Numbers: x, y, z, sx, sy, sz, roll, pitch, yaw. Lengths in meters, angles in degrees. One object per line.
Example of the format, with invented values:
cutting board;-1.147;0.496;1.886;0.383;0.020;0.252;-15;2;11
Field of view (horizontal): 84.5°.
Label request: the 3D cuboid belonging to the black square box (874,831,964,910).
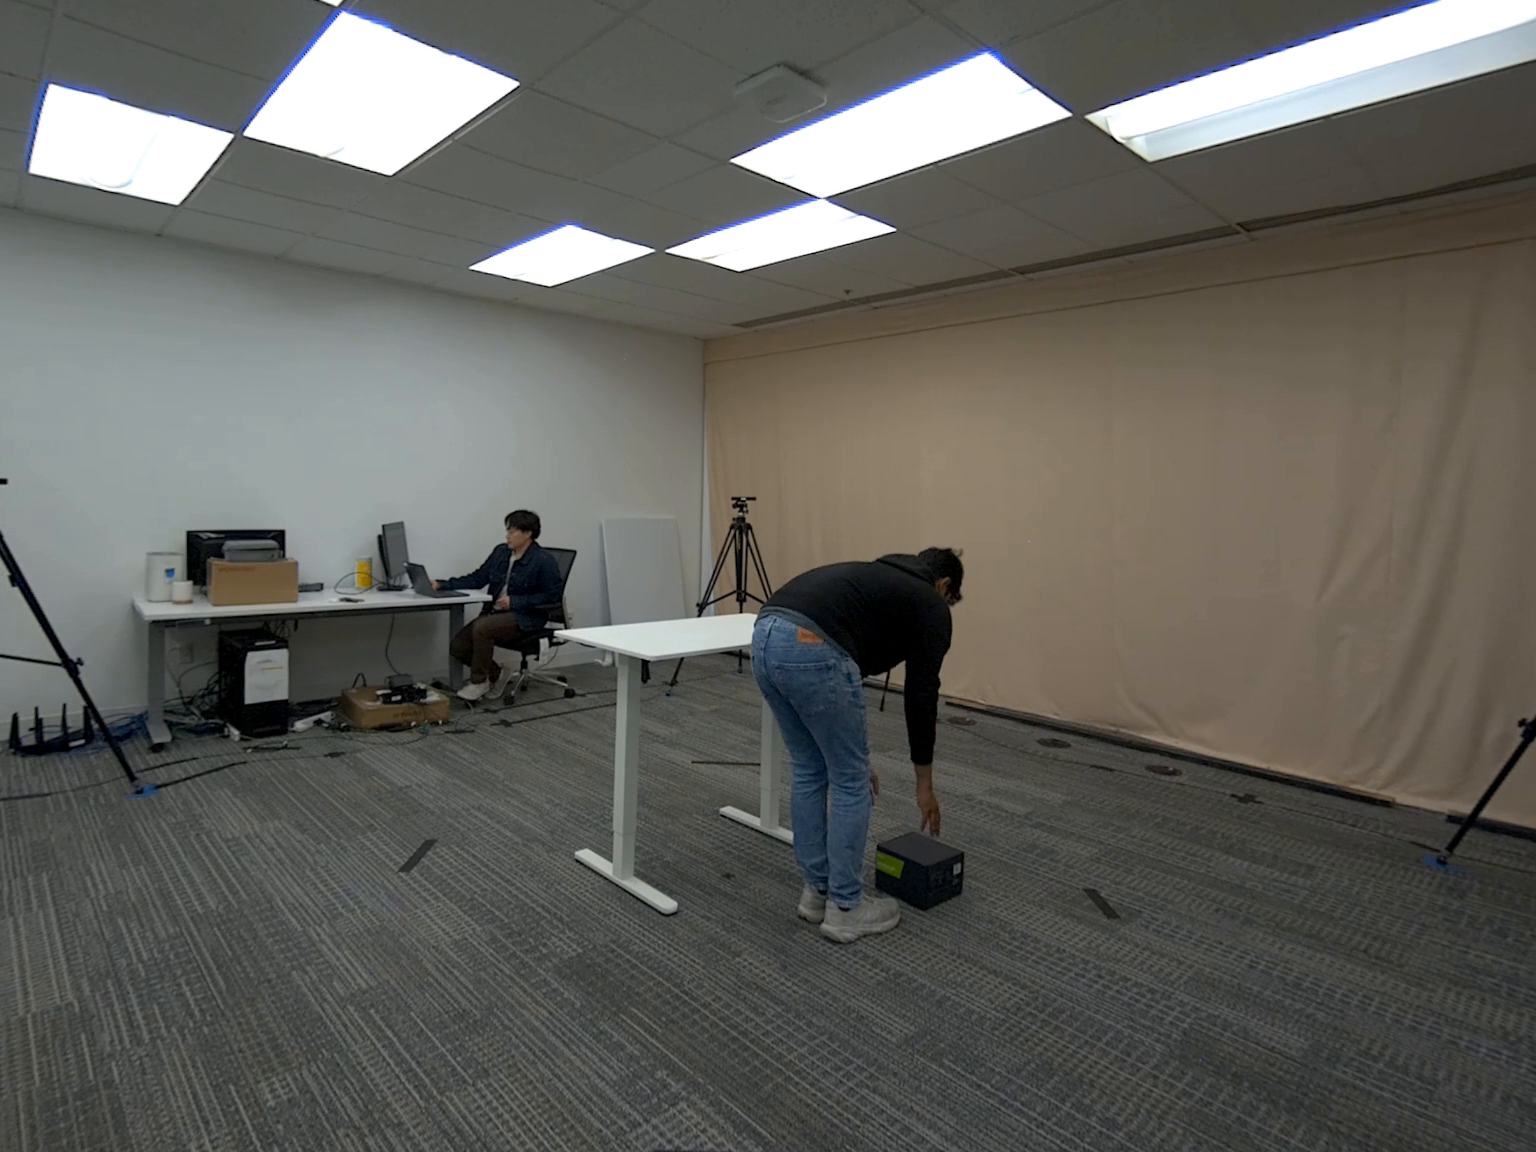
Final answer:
black square box;0.530;1.046;3.018;0.212;0.155;0.234;-2;6;-42
